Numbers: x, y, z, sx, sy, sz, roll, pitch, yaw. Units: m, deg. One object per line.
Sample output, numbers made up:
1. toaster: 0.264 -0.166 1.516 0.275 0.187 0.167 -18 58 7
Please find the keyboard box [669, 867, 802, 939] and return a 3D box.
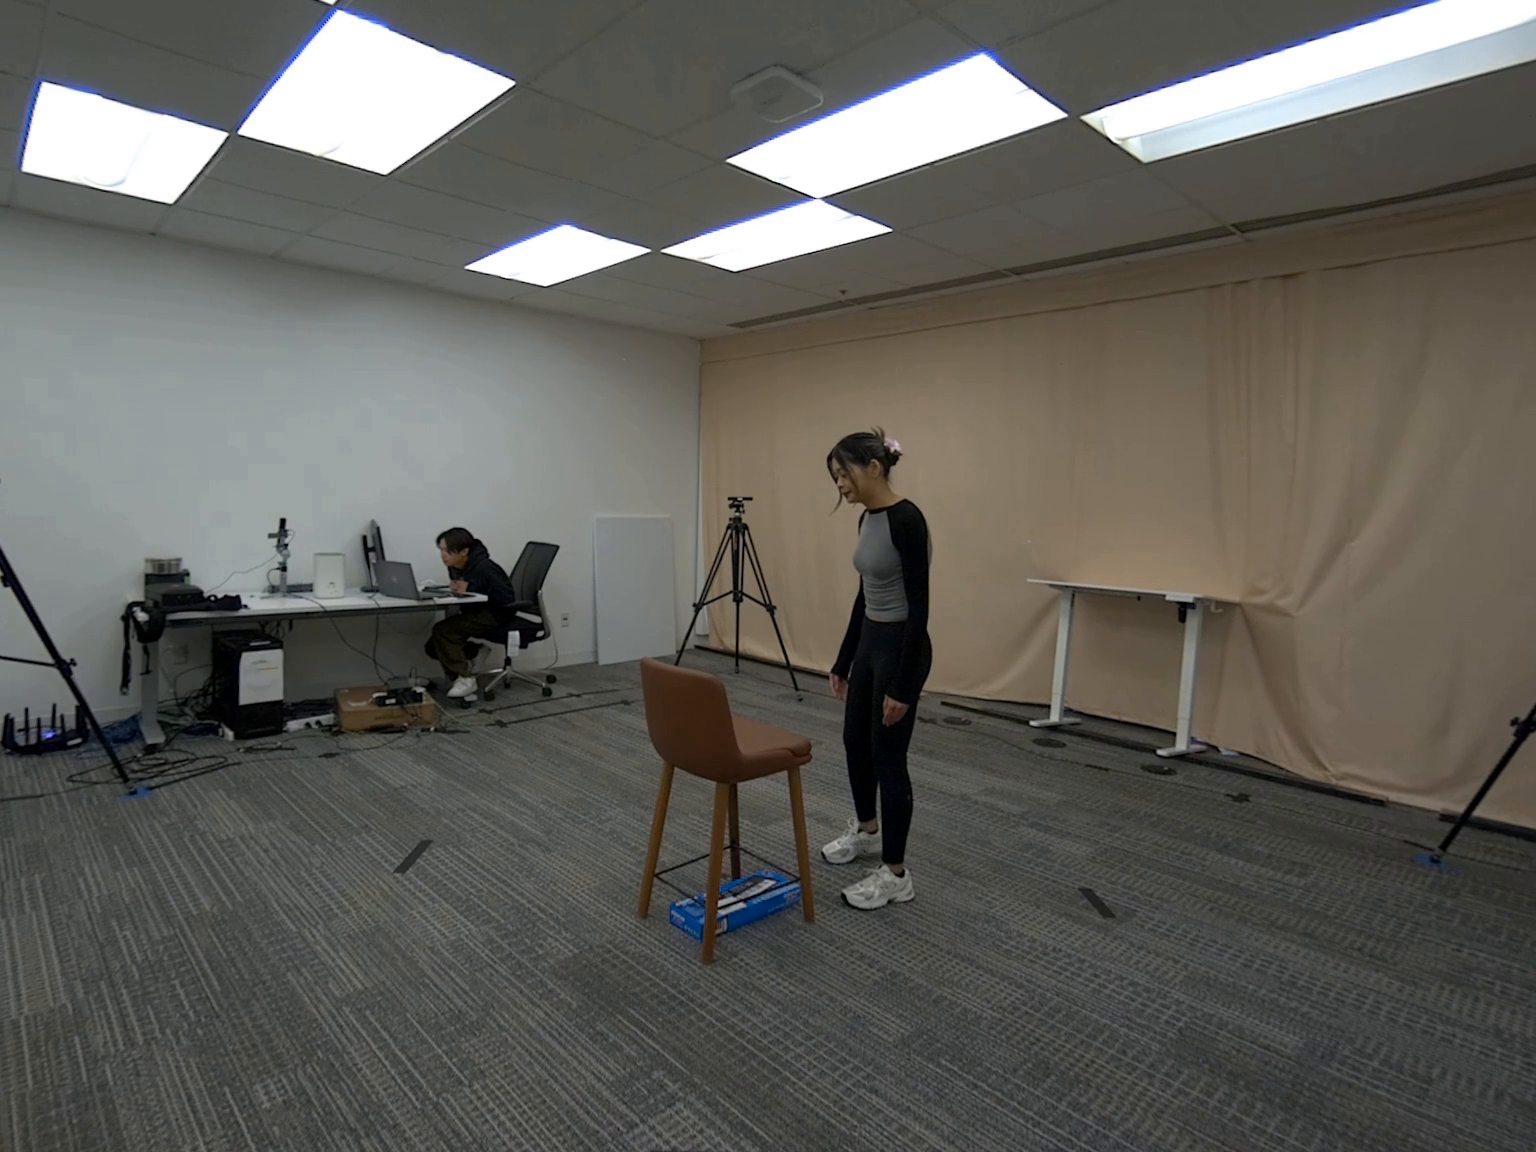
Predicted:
1. keyboard box: -0.111 1.105 2.830 0.427 0.059 0.180 -4 7 -42
